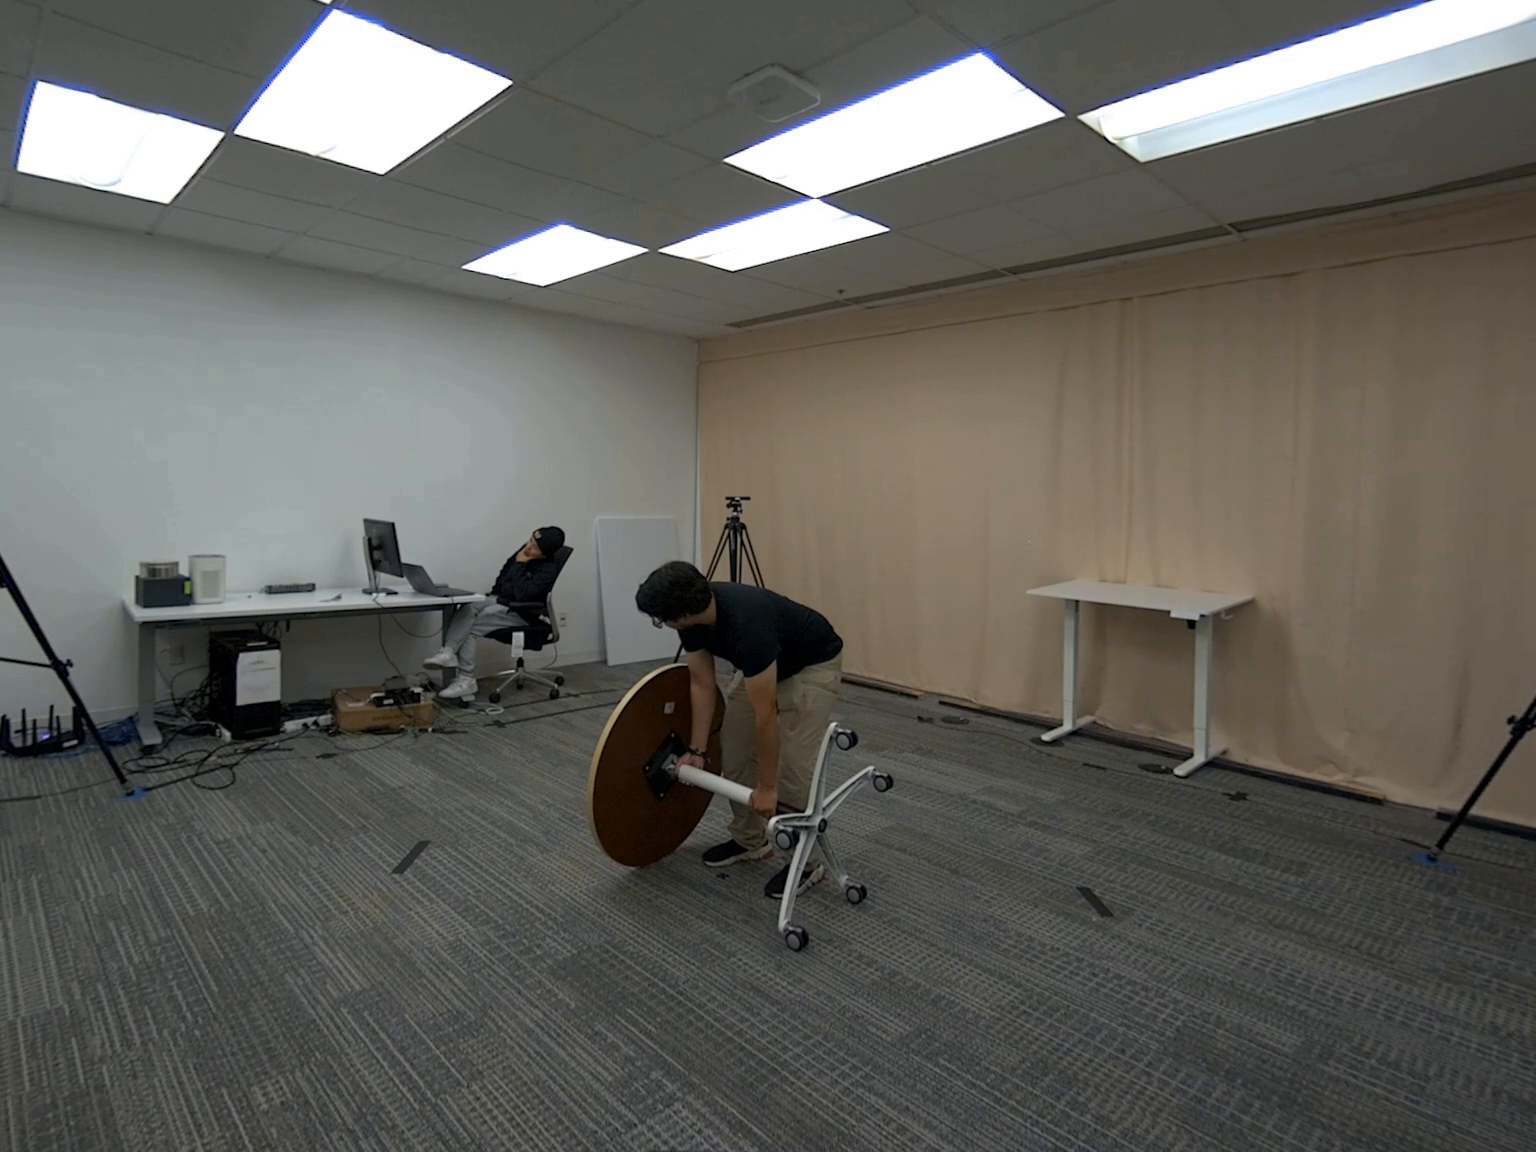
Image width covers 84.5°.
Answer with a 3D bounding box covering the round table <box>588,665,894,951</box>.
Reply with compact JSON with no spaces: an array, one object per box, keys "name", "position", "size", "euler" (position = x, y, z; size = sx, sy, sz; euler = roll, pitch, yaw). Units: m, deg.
[{"name":"round table","position":[-0.086,0.766,2.949],"size":[0.806,0.782,0.768],"euler":[9,8,35]}]
